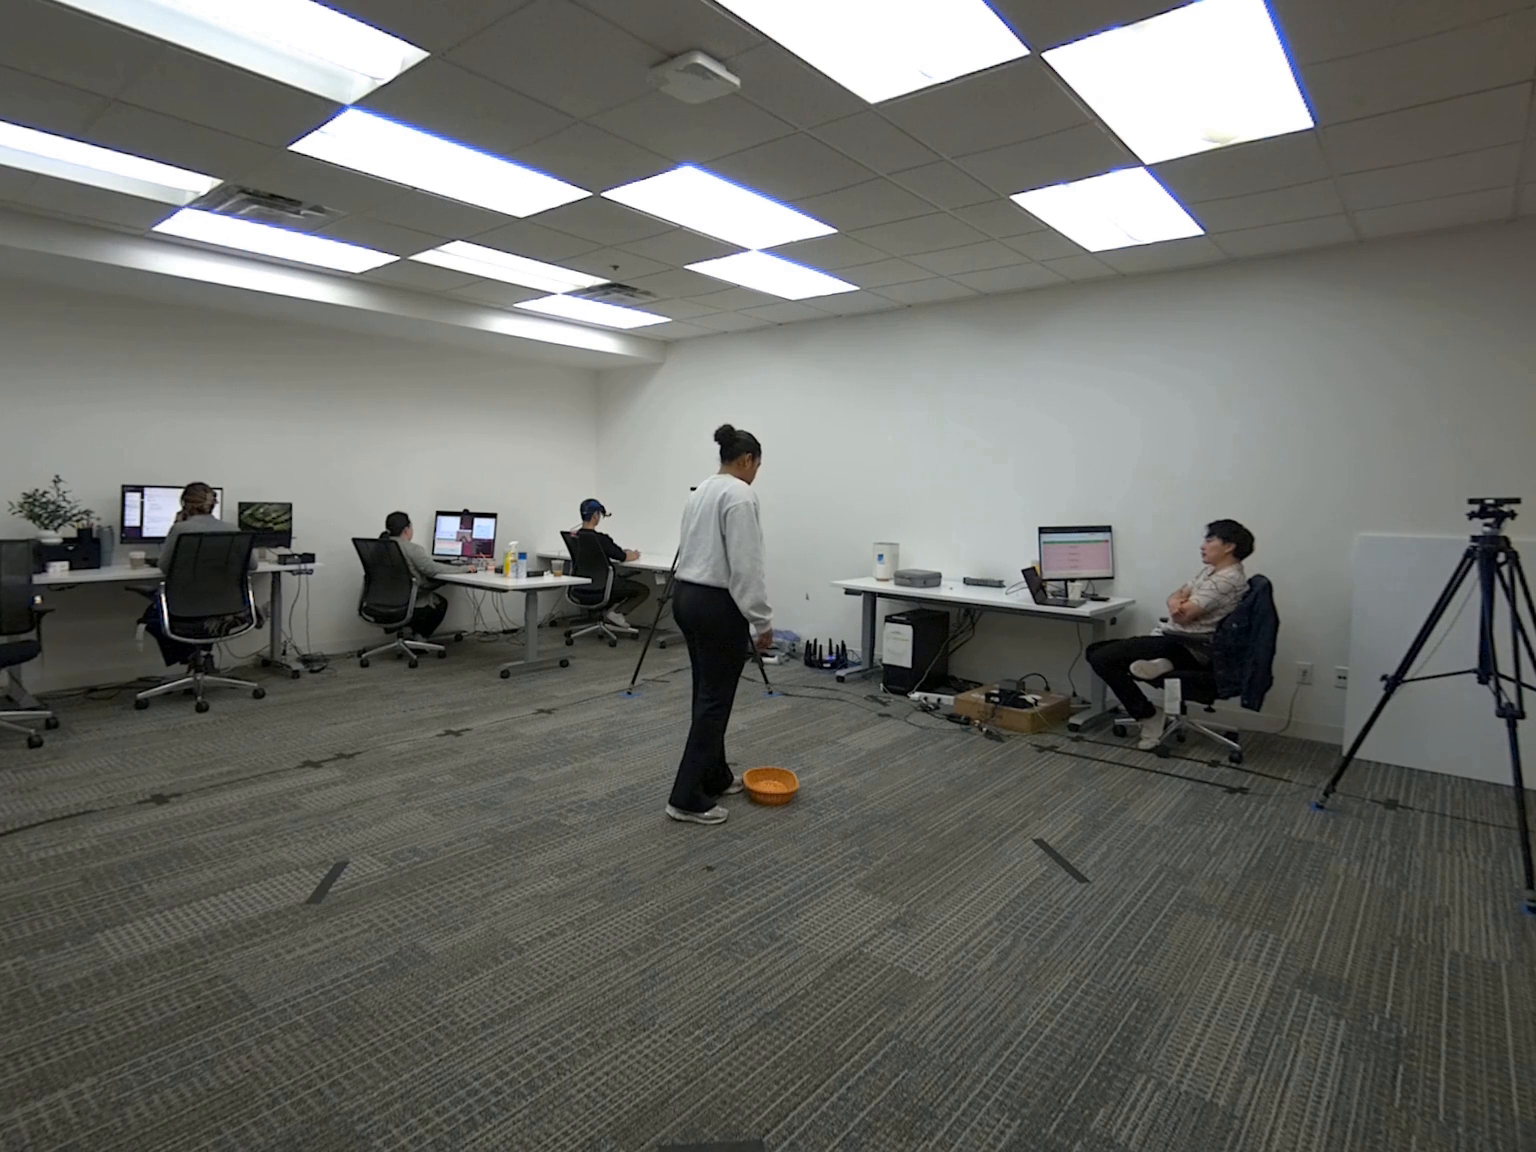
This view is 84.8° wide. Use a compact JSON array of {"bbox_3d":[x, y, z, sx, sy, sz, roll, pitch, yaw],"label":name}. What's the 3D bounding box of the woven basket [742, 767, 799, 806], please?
[{"bbox_3d":[0.002,0.961,3.885,0.252,0.073,0.352,0,6,-2],"label":"woven basket"}]
